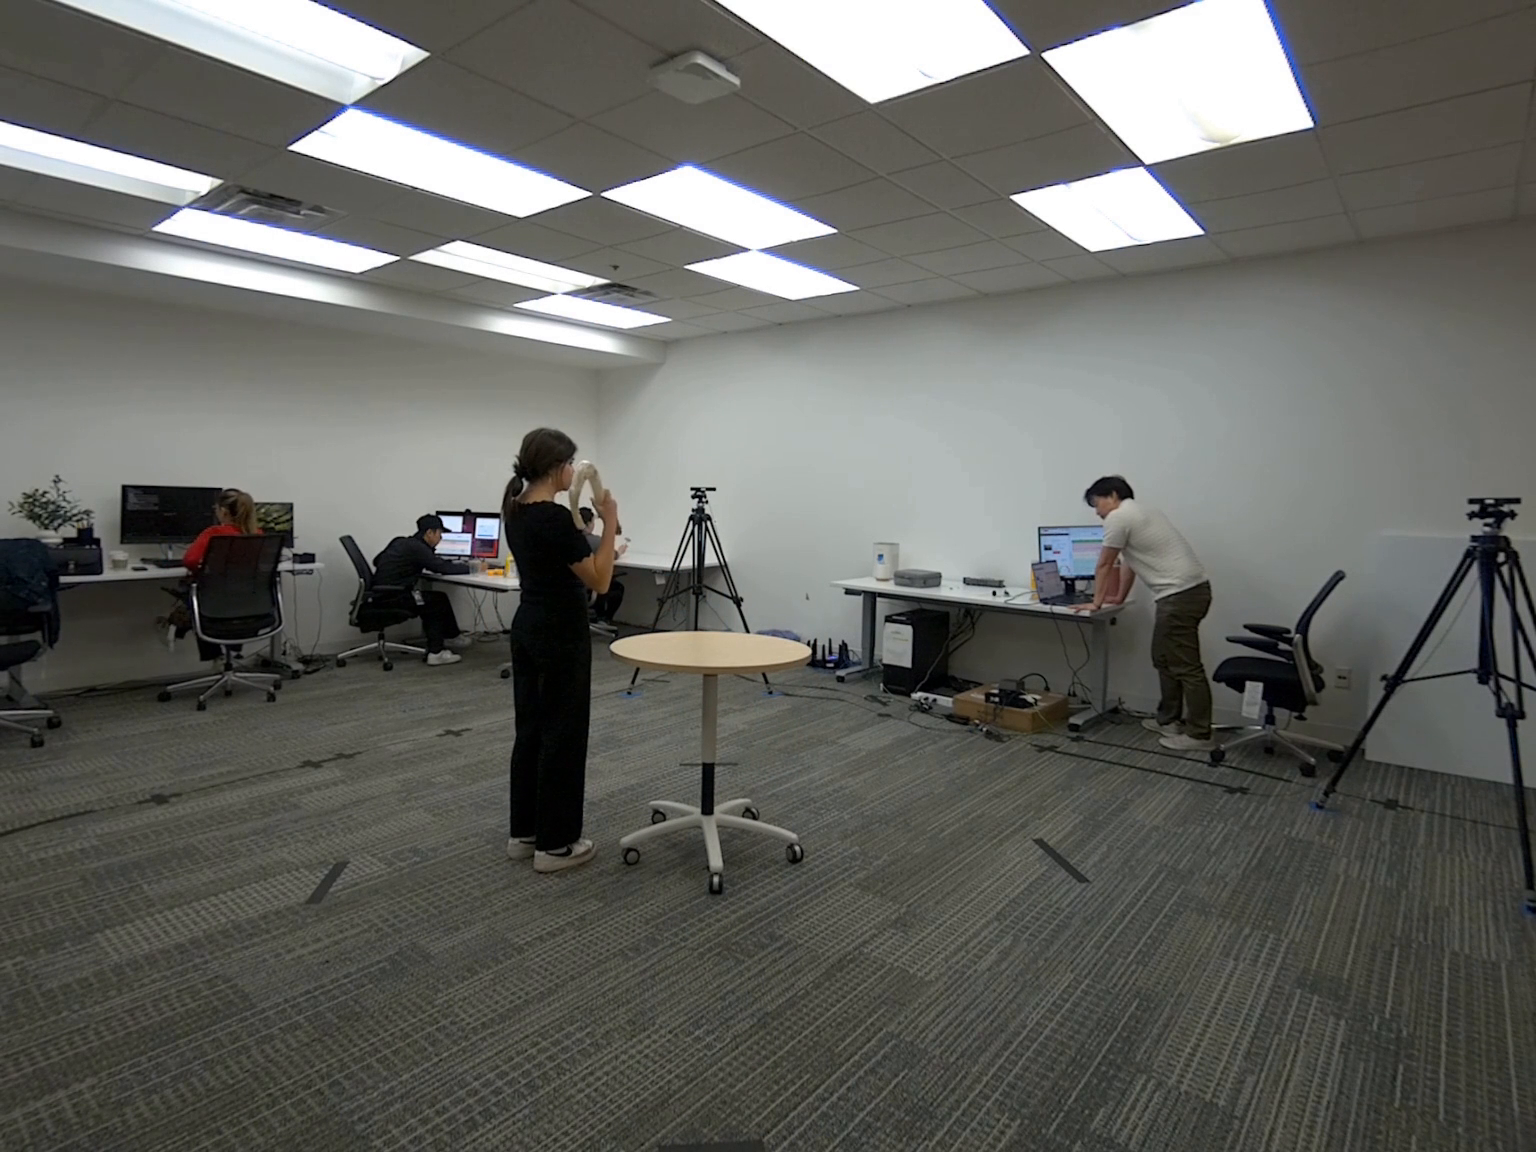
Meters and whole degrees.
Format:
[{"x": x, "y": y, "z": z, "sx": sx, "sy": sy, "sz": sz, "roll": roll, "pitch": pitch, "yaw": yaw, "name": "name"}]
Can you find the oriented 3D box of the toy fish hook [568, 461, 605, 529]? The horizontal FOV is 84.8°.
[{"x": -0.636, "y": -0.224, "z": 3.036, "sx": 0.049, "sy": 0.228, "sz": 0.491, "roll": 11, "pitch": -24, "yaw": 11, "name": "toy fish hook"}]
